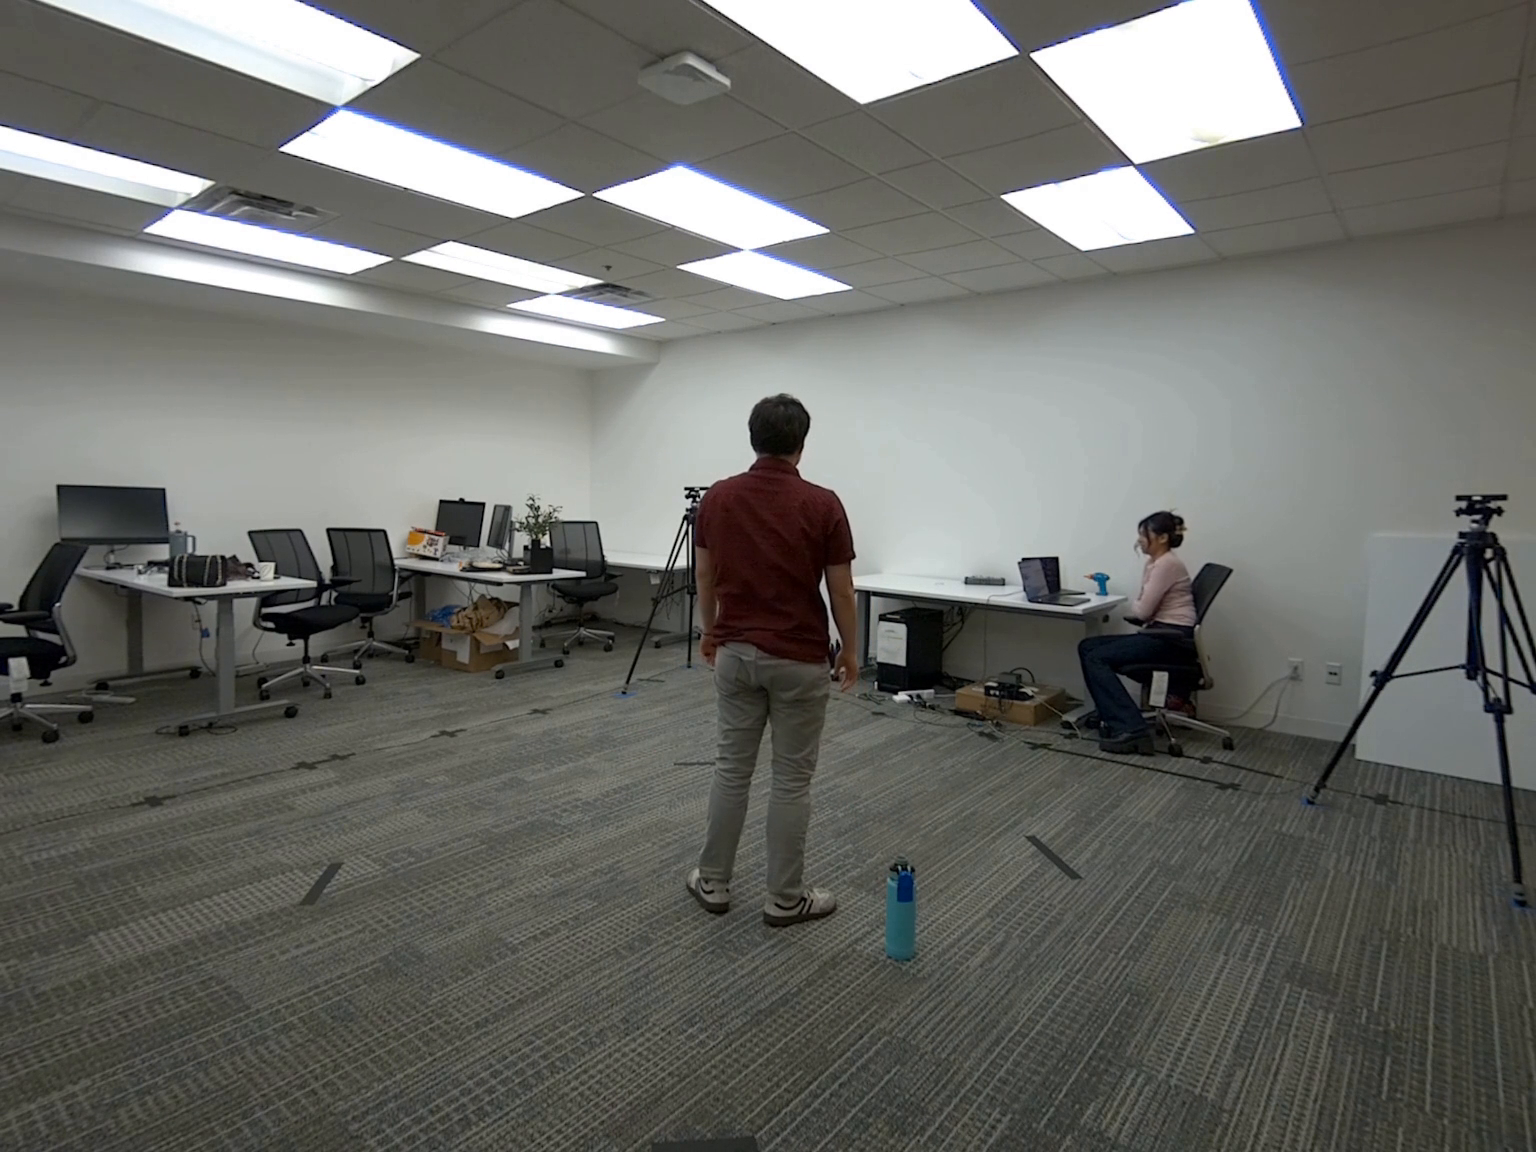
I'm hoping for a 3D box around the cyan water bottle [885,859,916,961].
[{"bbox_3d":[0.398,0.992,2.558,0.092,0.282,0.093,2,4,-2],"label":"cyan water bottle"}]
